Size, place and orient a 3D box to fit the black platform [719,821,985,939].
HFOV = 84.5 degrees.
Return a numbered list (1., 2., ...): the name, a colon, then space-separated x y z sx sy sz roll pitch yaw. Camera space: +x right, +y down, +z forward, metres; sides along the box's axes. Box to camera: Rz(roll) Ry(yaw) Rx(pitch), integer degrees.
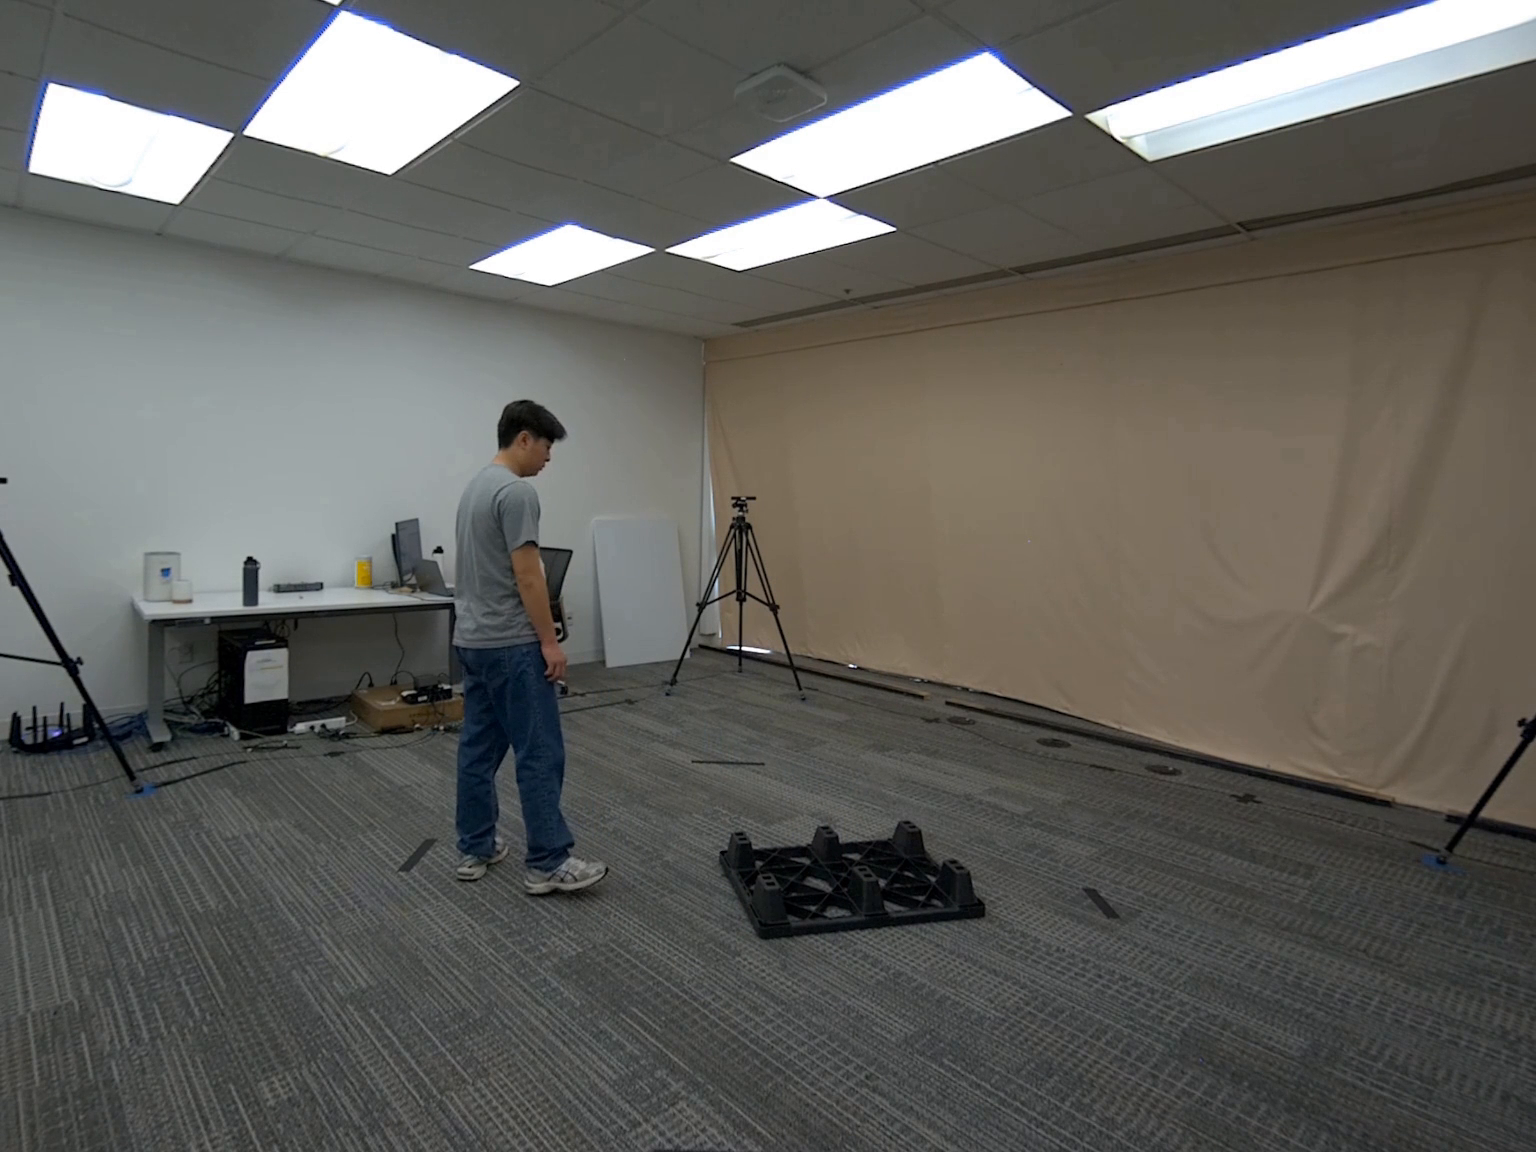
1. black platform: 0.269 1.052 3.035 0.796 0.143 0.614 0 5 -15
